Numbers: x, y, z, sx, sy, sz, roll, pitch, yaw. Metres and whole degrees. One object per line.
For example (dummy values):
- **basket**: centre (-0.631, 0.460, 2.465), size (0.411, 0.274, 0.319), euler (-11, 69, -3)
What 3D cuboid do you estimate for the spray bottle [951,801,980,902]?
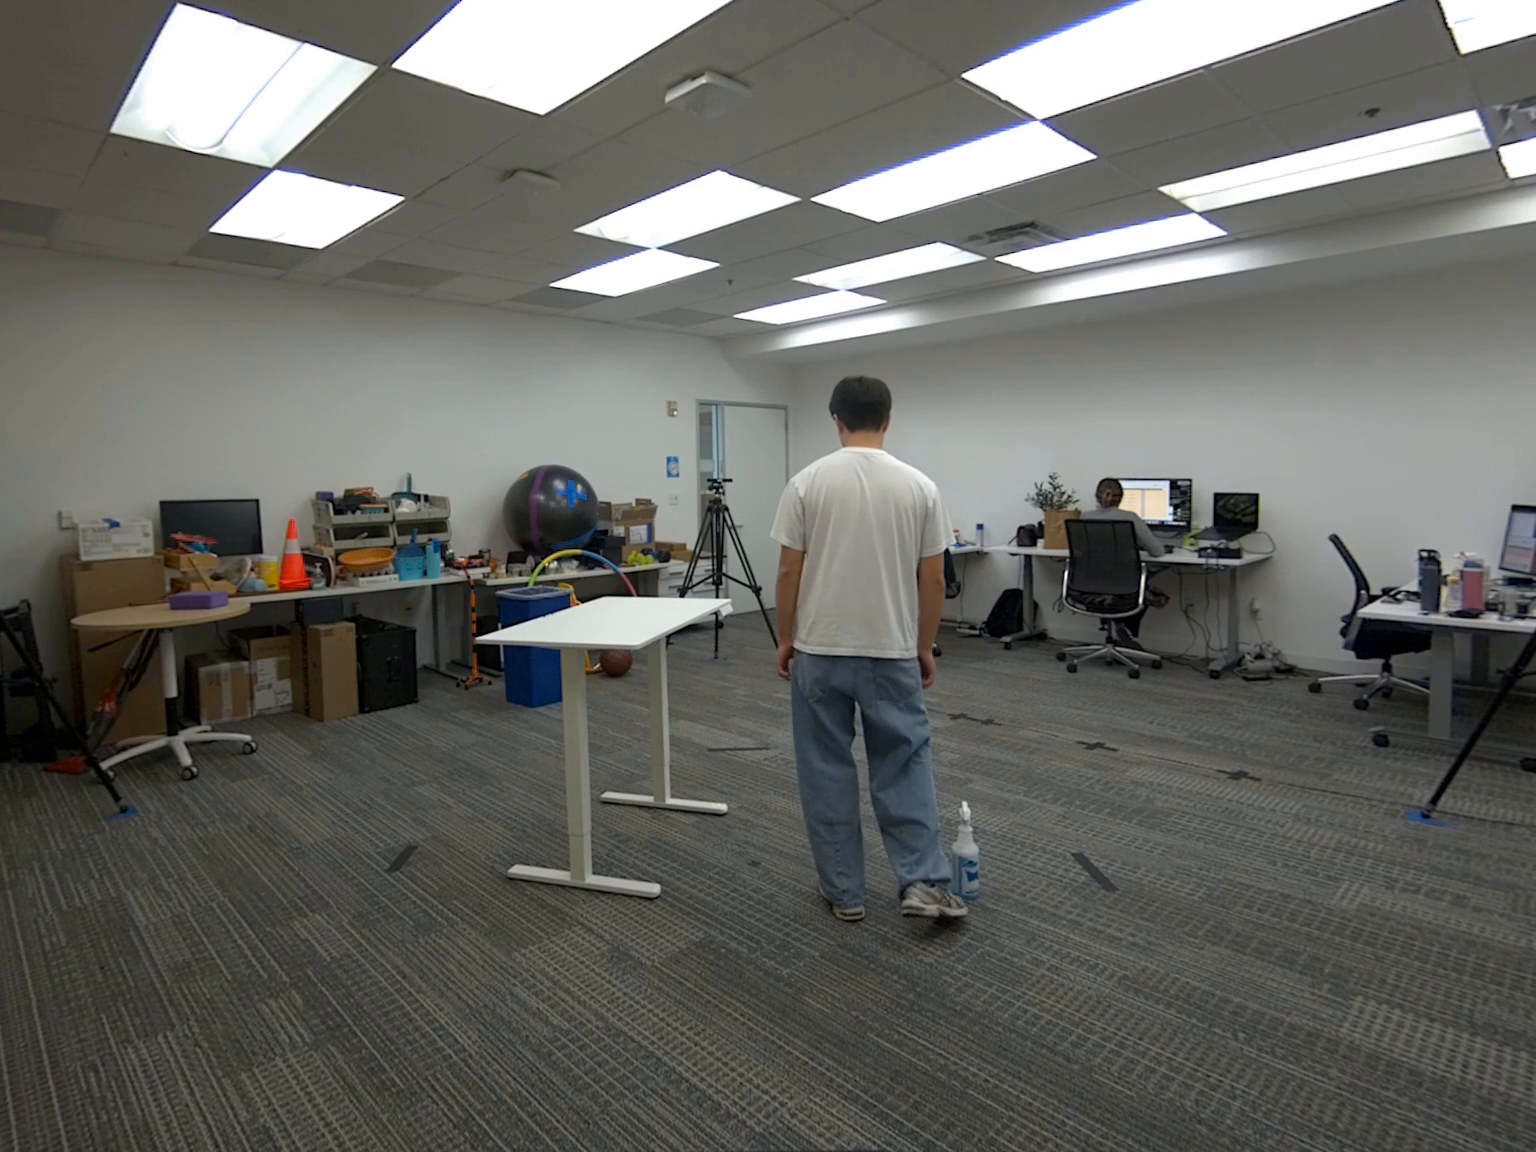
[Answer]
- **spray bottle**: centre (0.654, 0.918, 2.851), size (0.089, 0.297, 0.088), euler (1, 2, 34)
